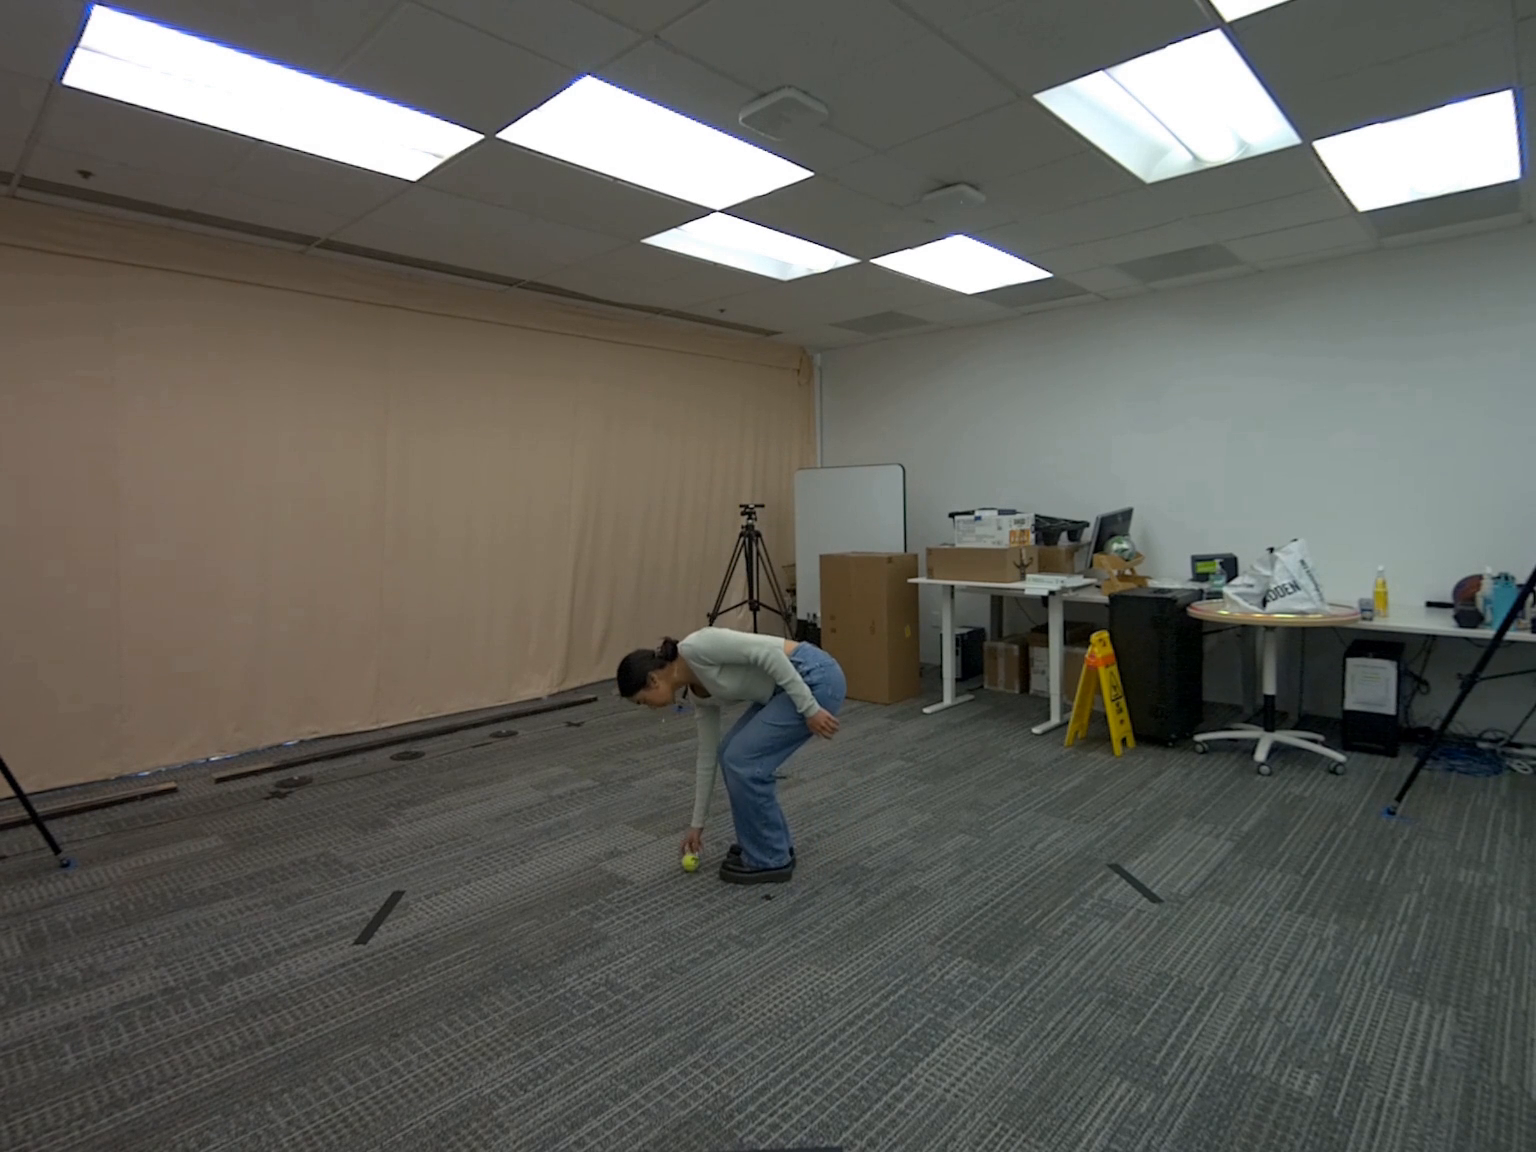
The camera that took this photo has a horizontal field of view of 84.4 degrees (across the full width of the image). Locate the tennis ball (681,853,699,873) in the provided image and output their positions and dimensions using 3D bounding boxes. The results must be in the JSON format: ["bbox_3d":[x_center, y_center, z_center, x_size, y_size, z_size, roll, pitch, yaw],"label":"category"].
[{"bbox_3d":[-0.292,1.085,3.216,0.066,0.066,0.067,-1,4,-2],"label":"tennis ball"}]
